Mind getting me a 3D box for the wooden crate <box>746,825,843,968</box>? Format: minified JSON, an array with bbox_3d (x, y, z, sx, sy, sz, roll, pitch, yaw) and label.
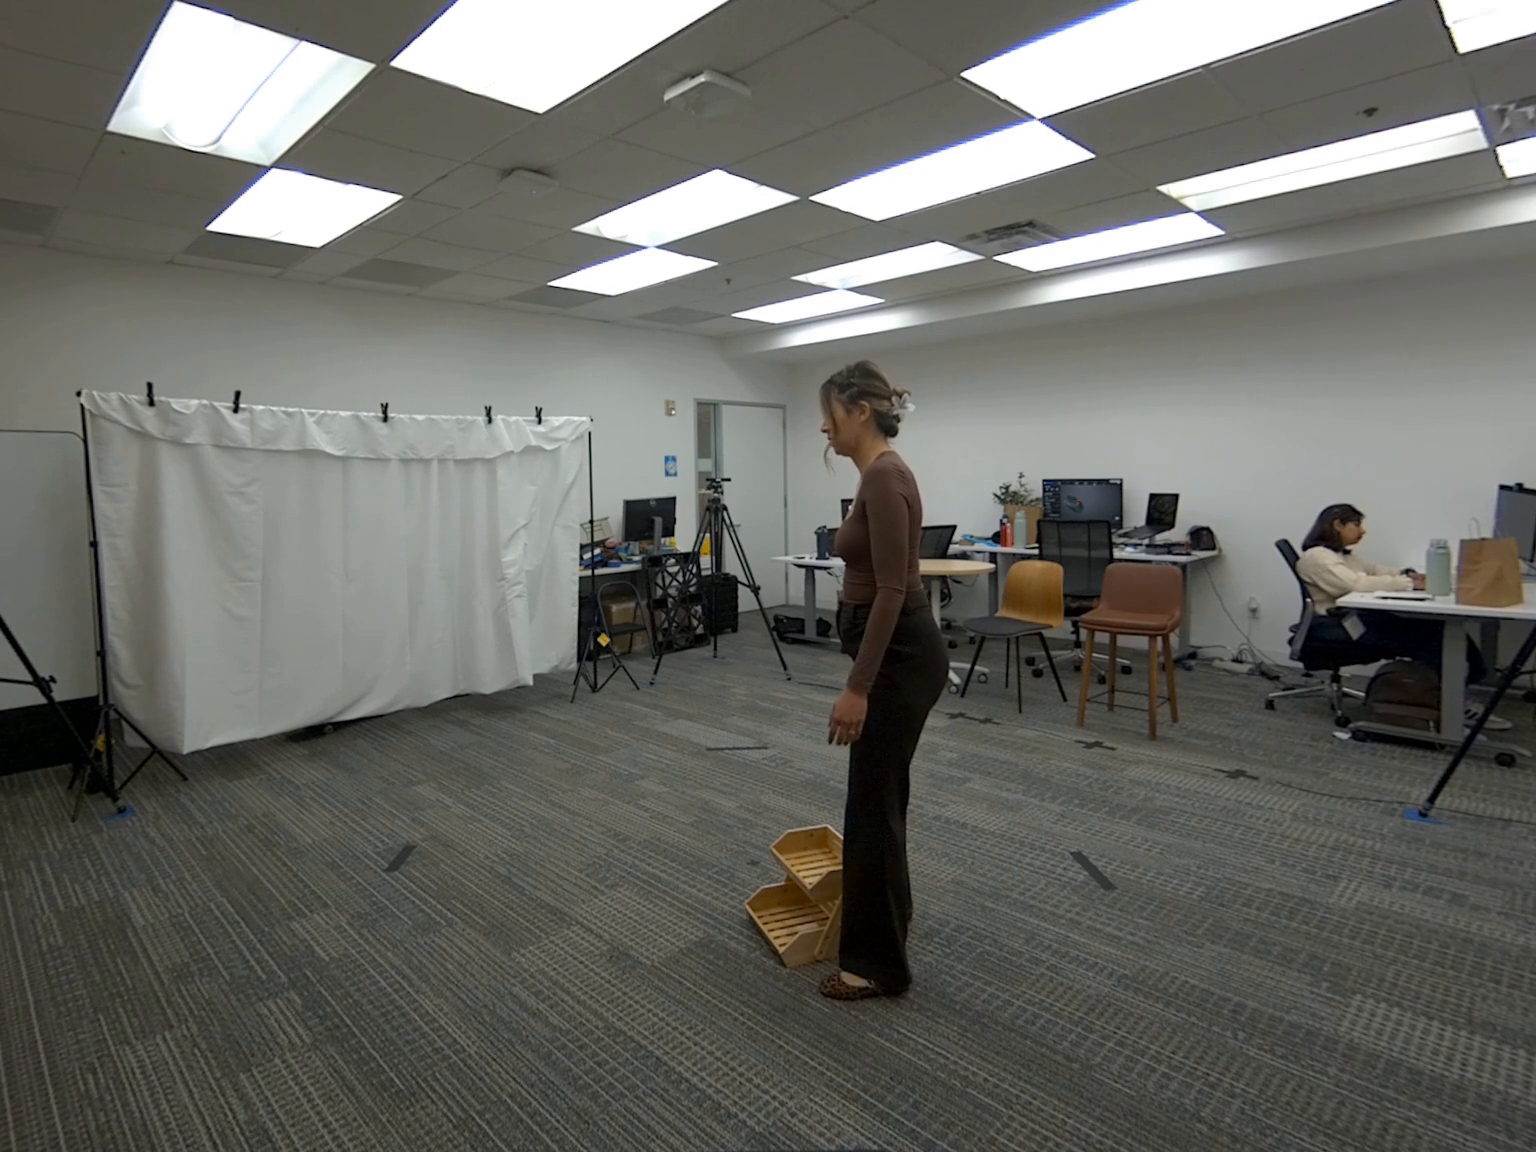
[{"bbox_3d":[0.118,0.964,2.609,0.297,0.272,0.332,-3,6,-21],"label":"wooden crate"}]
